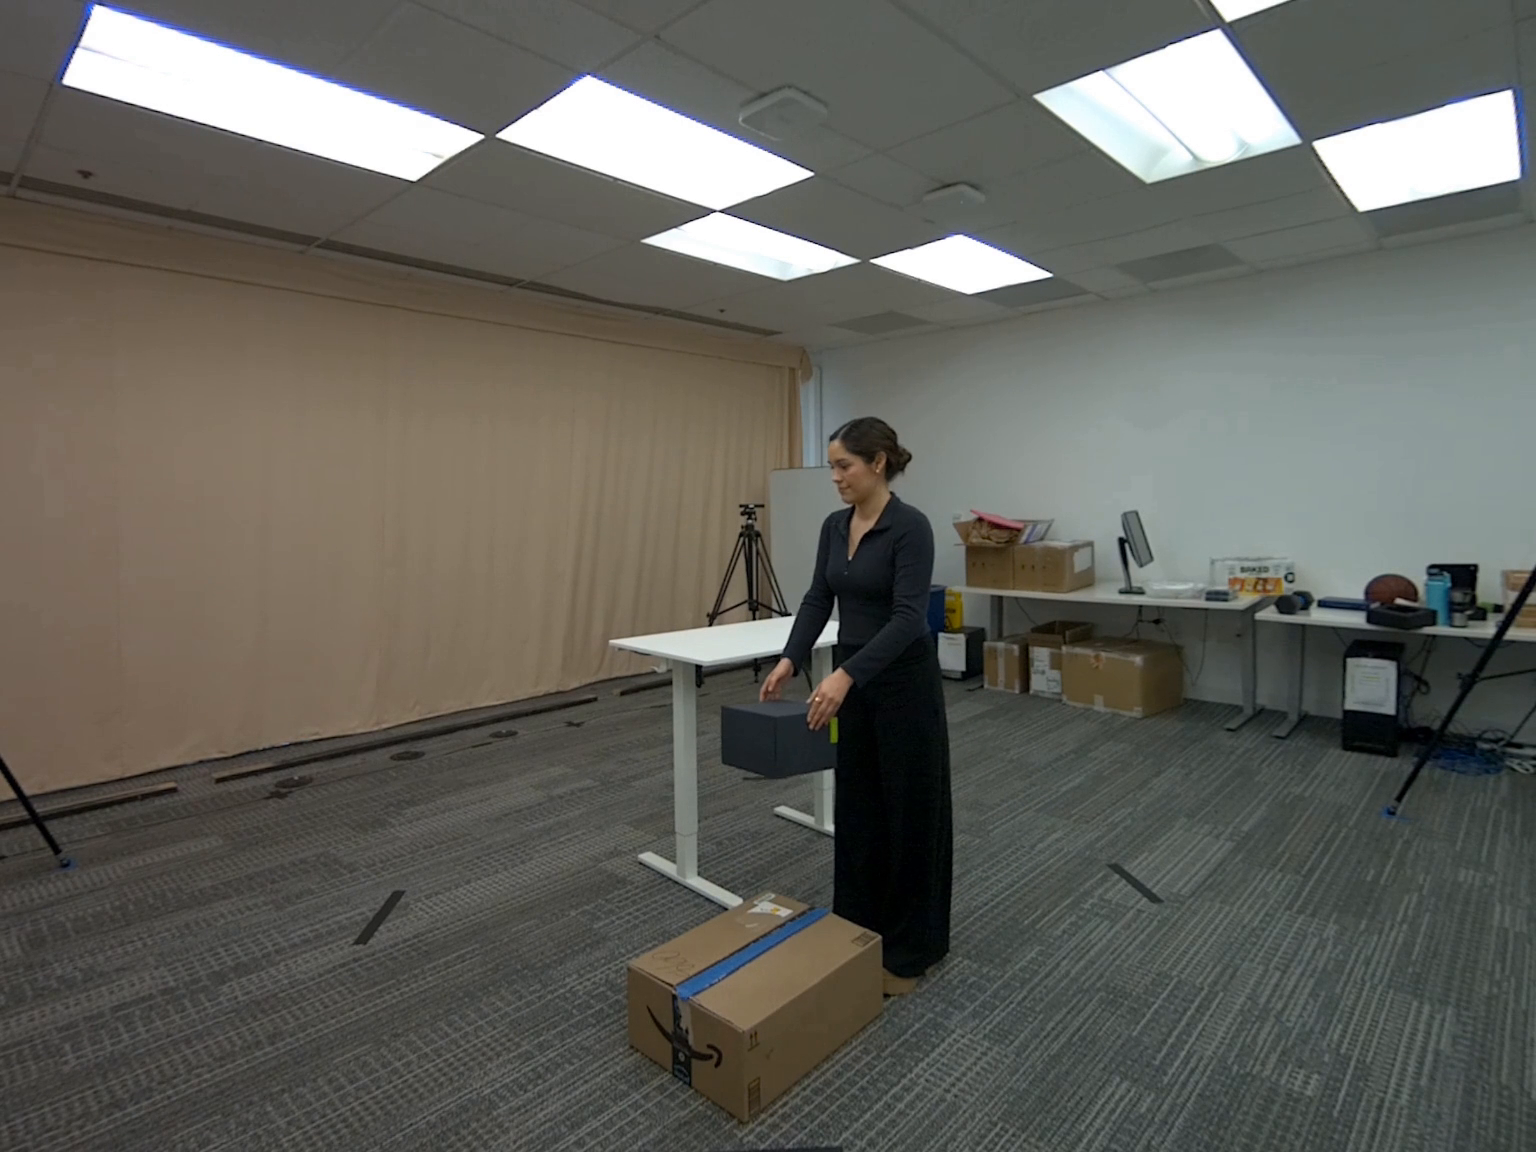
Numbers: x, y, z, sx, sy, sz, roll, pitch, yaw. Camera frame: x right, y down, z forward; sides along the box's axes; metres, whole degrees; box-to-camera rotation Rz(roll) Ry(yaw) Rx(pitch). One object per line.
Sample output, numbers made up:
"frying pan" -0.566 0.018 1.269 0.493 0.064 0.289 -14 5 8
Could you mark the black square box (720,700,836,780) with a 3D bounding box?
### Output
"black square box" 0.035 0.431 2.229 0.210 0.156 0.235 1 -2 -38
